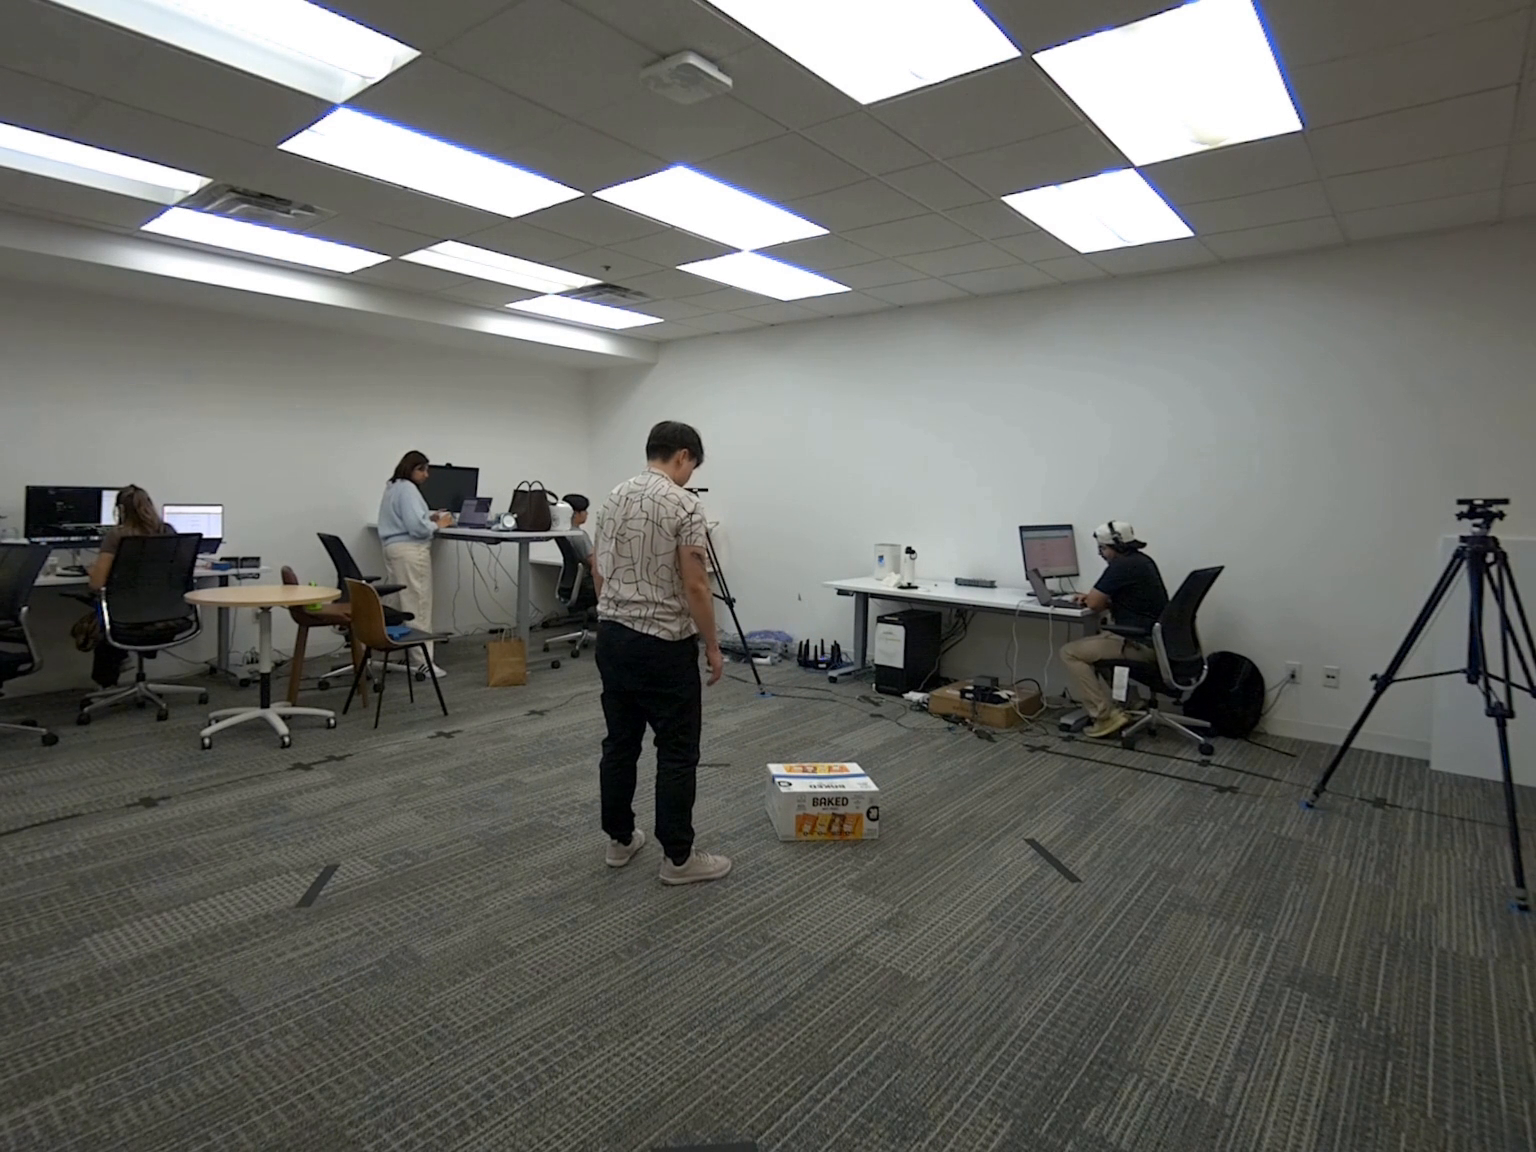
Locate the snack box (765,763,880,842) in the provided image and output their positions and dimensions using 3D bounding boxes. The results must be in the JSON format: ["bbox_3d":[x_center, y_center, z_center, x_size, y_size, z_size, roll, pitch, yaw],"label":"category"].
[{"bbox_3d":[0.214,0.934,3.553,0.402,0.205,0.345,1,5,-8],"label":"snack box"}]
